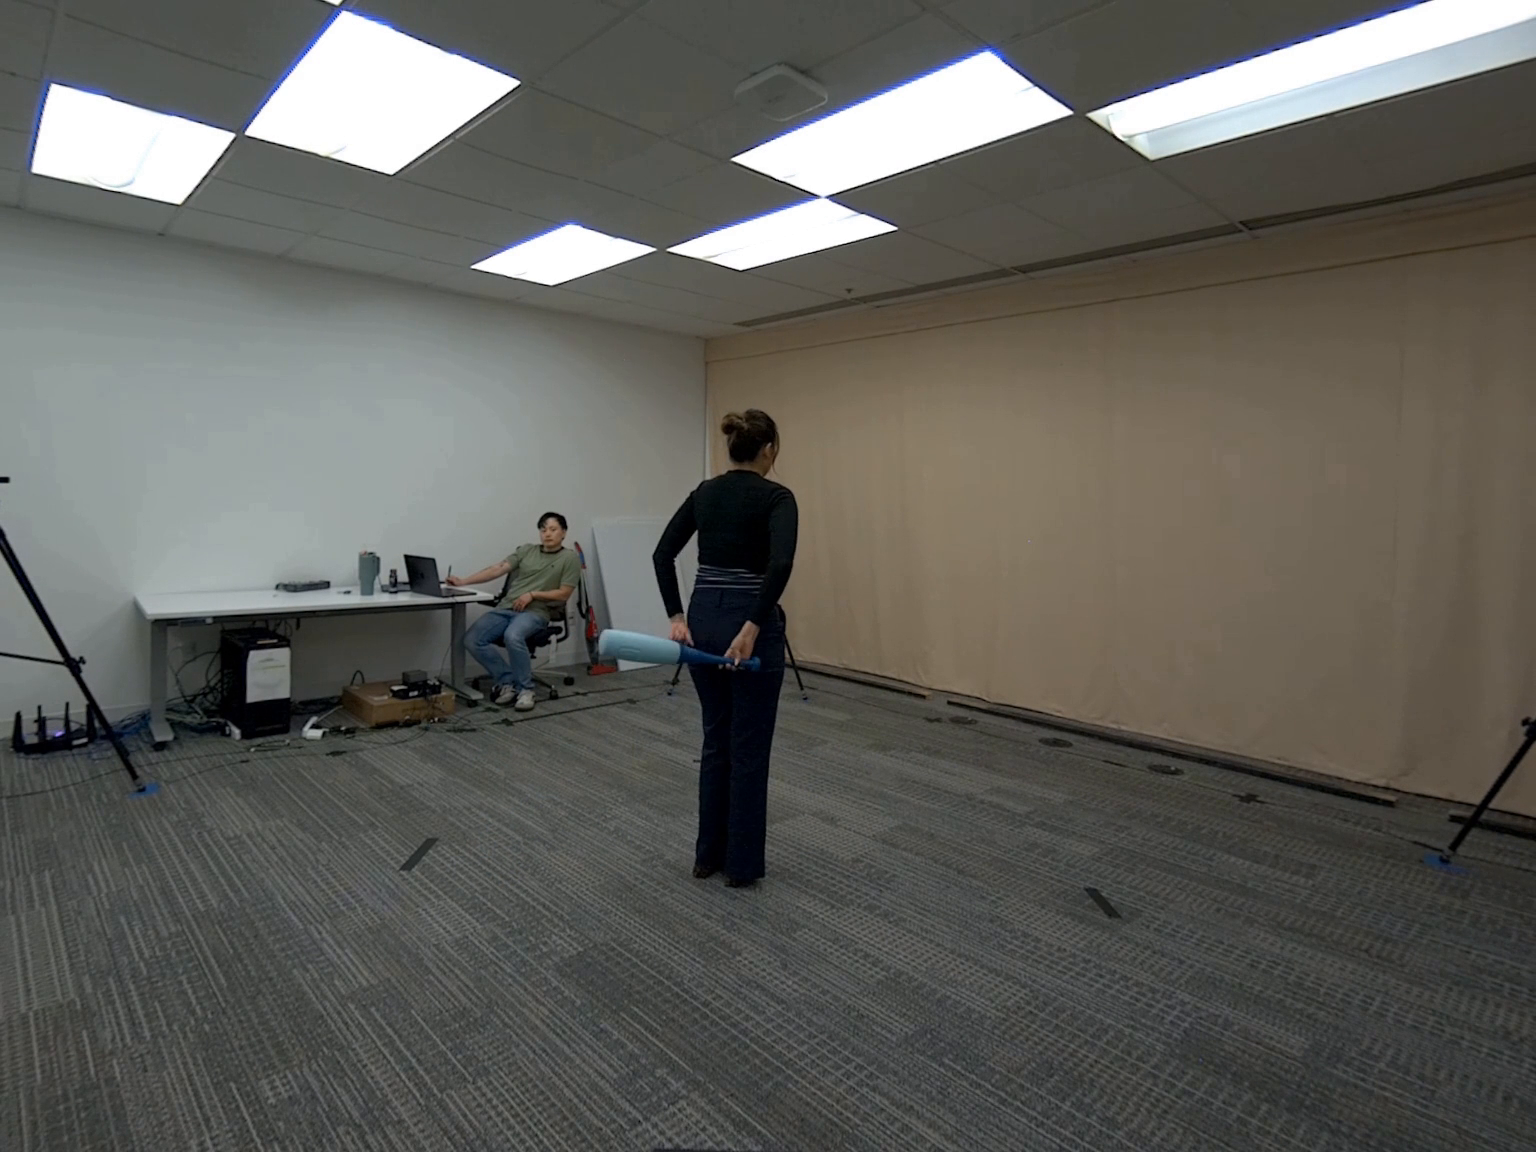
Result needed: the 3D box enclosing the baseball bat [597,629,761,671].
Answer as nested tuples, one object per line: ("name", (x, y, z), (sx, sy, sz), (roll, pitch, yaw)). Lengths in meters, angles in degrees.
("baseball bat", (-0.280, 0.252, 2.698), (0.533, 0.089, 0.091), (11, 0, -22))
